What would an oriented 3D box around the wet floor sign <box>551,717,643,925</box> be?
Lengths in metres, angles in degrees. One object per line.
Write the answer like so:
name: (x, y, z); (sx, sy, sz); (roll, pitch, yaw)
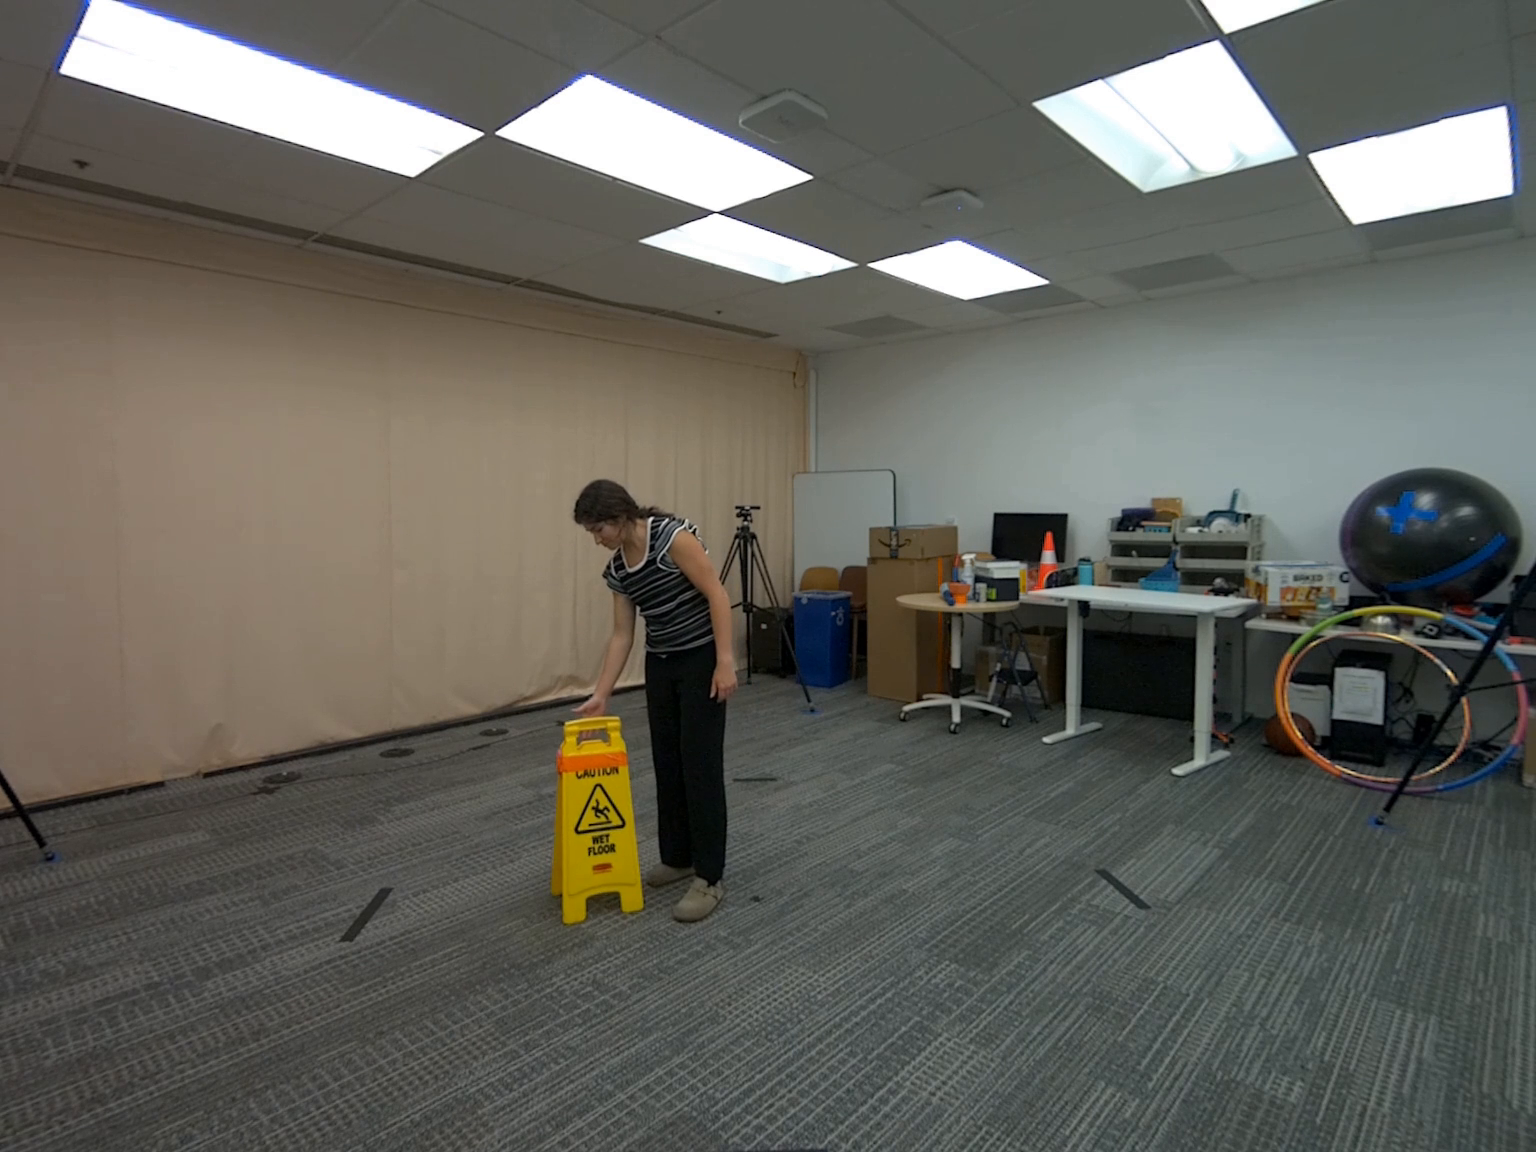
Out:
wet floor sign: (-0.610, 0.822, 2.952); (0.276, 0.645, 0.296); (-2, 3, -21)
